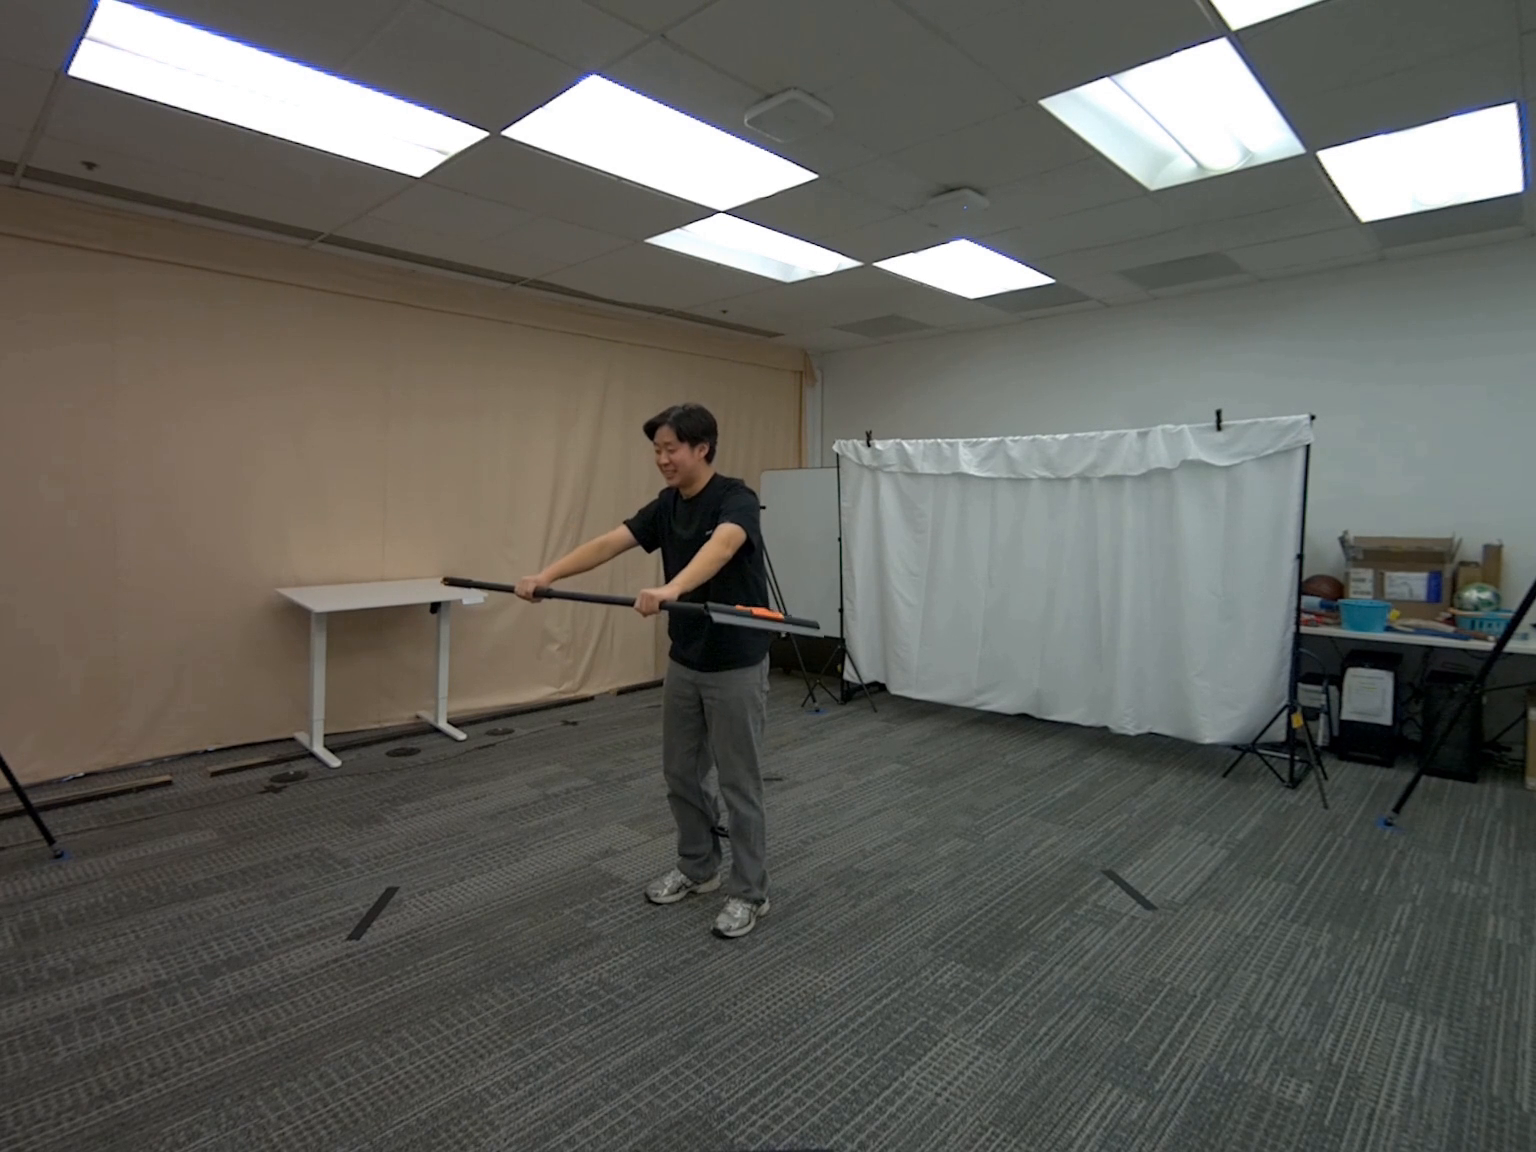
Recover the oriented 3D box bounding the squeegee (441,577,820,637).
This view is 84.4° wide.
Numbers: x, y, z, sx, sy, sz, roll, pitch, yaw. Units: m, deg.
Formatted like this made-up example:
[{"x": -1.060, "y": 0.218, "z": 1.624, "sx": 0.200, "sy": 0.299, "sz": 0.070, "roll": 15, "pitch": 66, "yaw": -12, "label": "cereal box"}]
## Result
[{"x": -0.584, "y": 0.069, "z": 2.559, "sx": 1.589, "sy": 0.053, "sz": 0.422, "roll": 4, "pitch": -7, "yaw": 42, "label": "squeegee"}]
